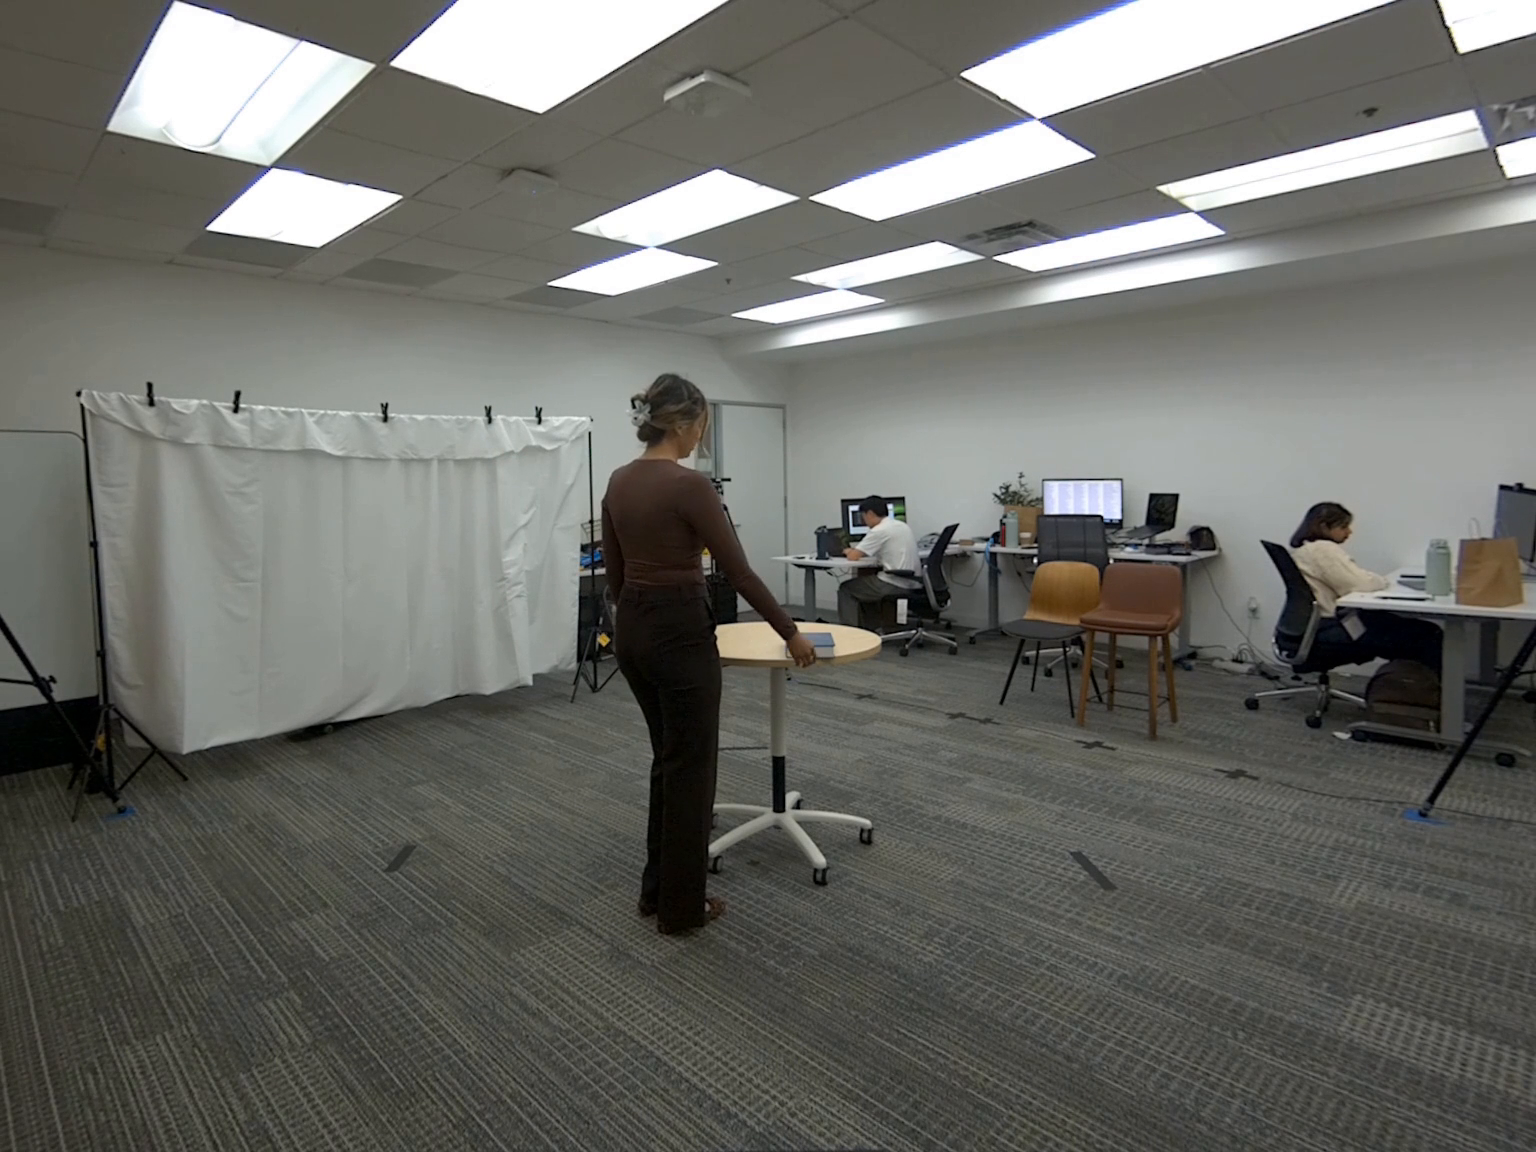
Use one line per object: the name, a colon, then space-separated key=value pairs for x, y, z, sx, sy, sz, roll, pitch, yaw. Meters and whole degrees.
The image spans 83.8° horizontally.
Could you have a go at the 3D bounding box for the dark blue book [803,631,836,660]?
dark blue book: x=0.147 y=0.238 z=2.941 sx=0.164 sy=0.045 sz=0.245 roll=0 pitch=6 yaw=3
